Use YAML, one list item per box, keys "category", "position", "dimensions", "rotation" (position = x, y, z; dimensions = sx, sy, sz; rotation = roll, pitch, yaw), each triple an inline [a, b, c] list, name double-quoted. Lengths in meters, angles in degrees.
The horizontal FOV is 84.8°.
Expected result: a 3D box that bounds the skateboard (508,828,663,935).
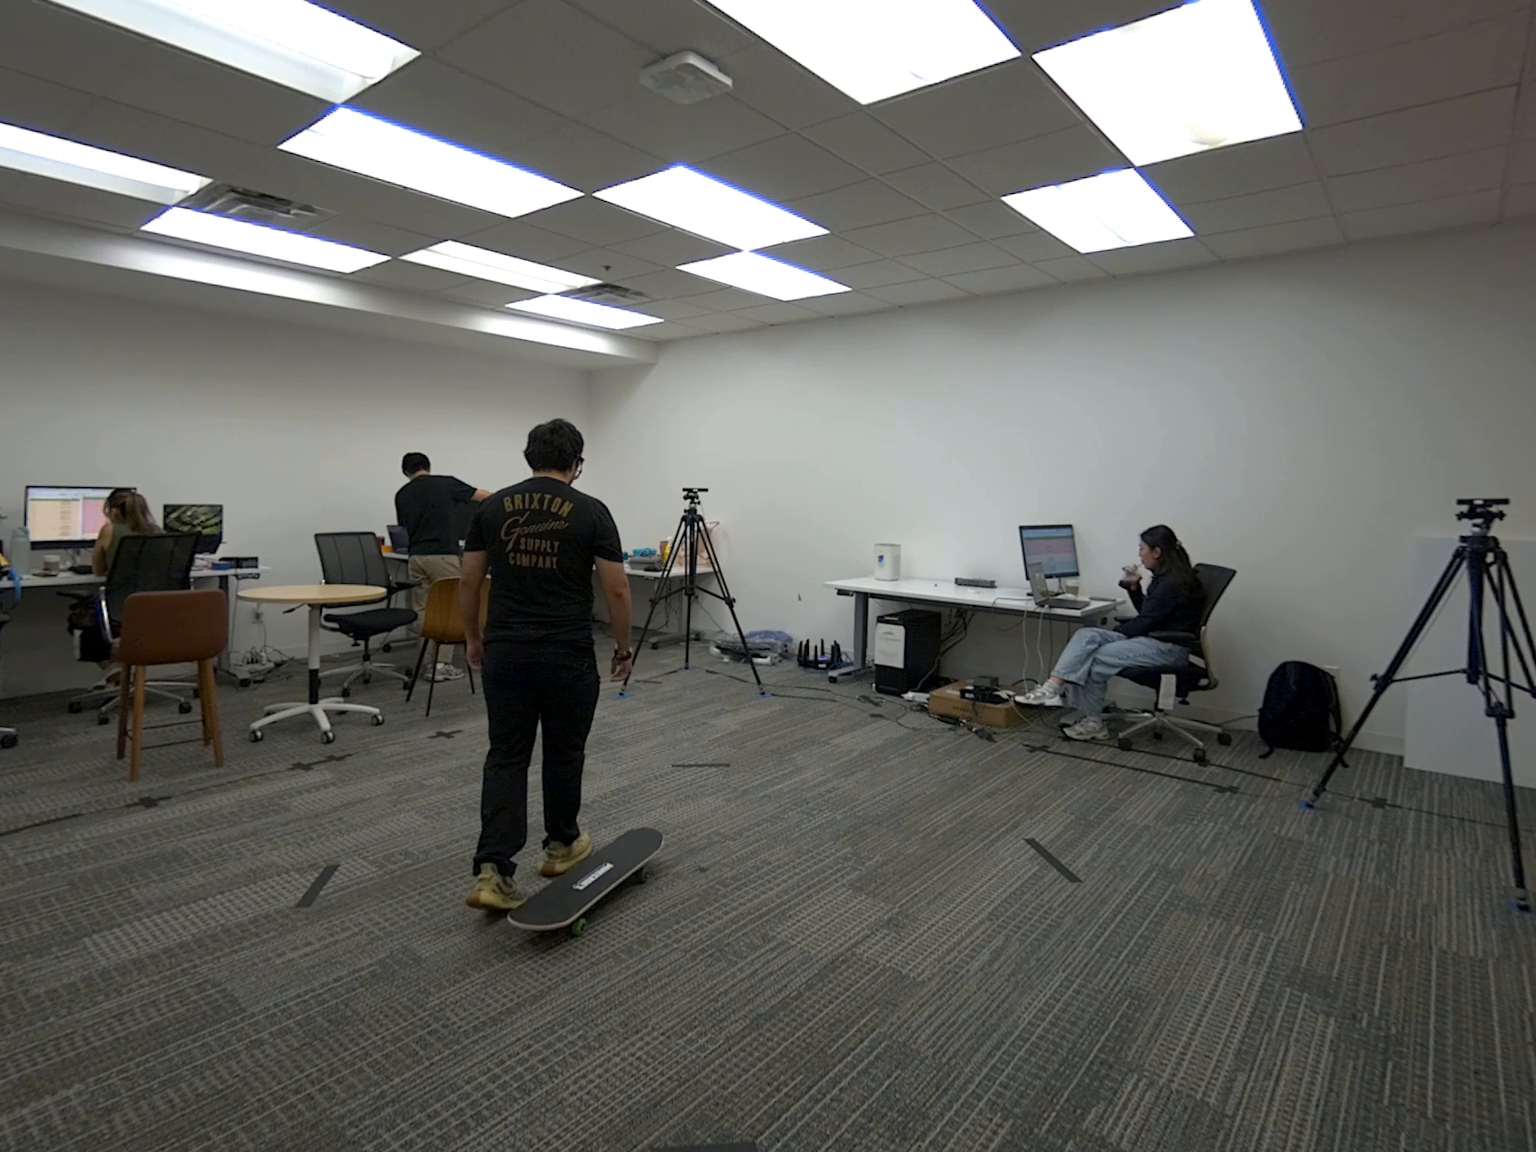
- category: "skateboard"
  position: [-0.592, 1.035, 2.850]
  dimensions: [0.198, 0.110, 0.769]
  rotation: [3, 6, 22]
